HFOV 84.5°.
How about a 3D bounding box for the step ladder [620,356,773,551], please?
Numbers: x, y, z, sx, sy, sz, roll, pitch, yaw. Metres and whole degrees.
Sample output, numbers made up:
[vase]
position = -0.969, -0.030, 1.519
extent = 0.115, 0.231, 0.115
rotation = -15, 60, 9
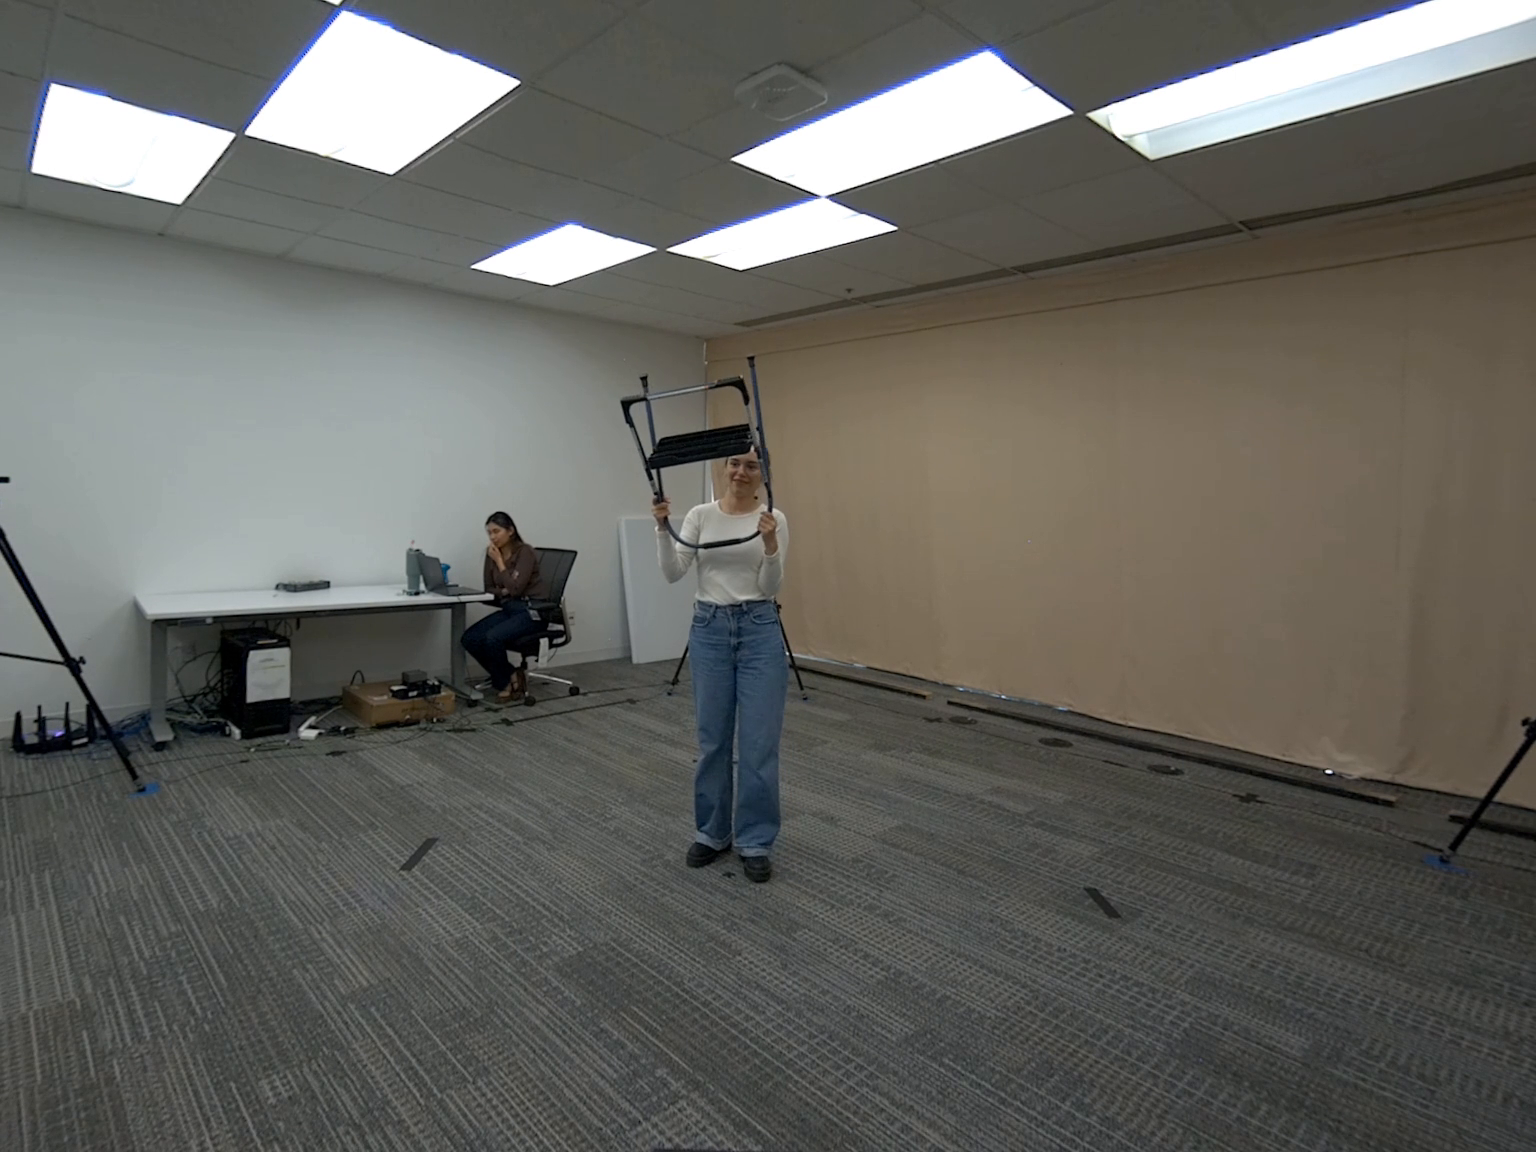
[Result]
[step ladder]
position = -0.217, -0.407, 2.949
extent = 0.434, 0.595, 0.353
rotation = -7, 23, 12
